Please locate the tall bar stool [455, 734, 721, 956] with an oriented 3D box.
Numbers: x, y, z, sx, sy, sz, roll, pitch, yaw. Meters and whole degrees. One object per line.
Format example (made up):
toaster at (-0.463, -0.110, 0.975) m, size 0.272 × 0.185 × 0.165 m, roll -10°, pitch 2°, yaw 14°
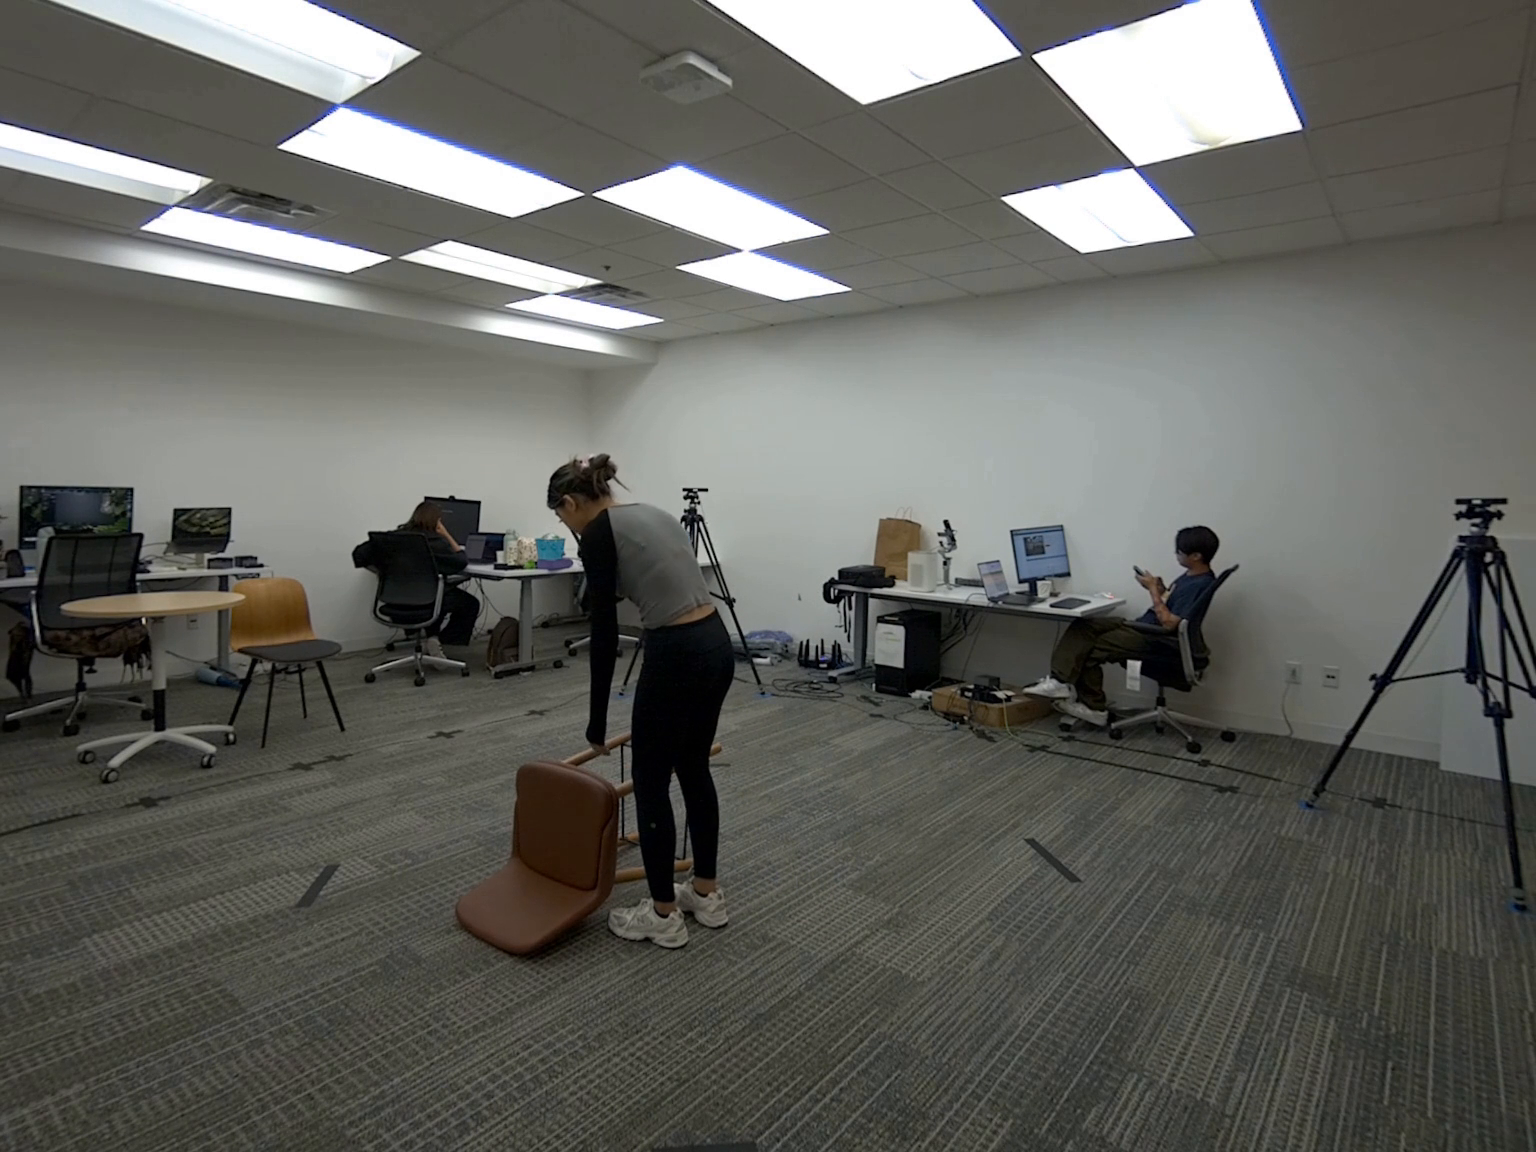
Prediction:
tall bar stool at (-0.604, 0.854, 2.913) m, size 0.471 × 0.466 × 0.864 m, roll 4°, pitch 6°, yaw 36°
